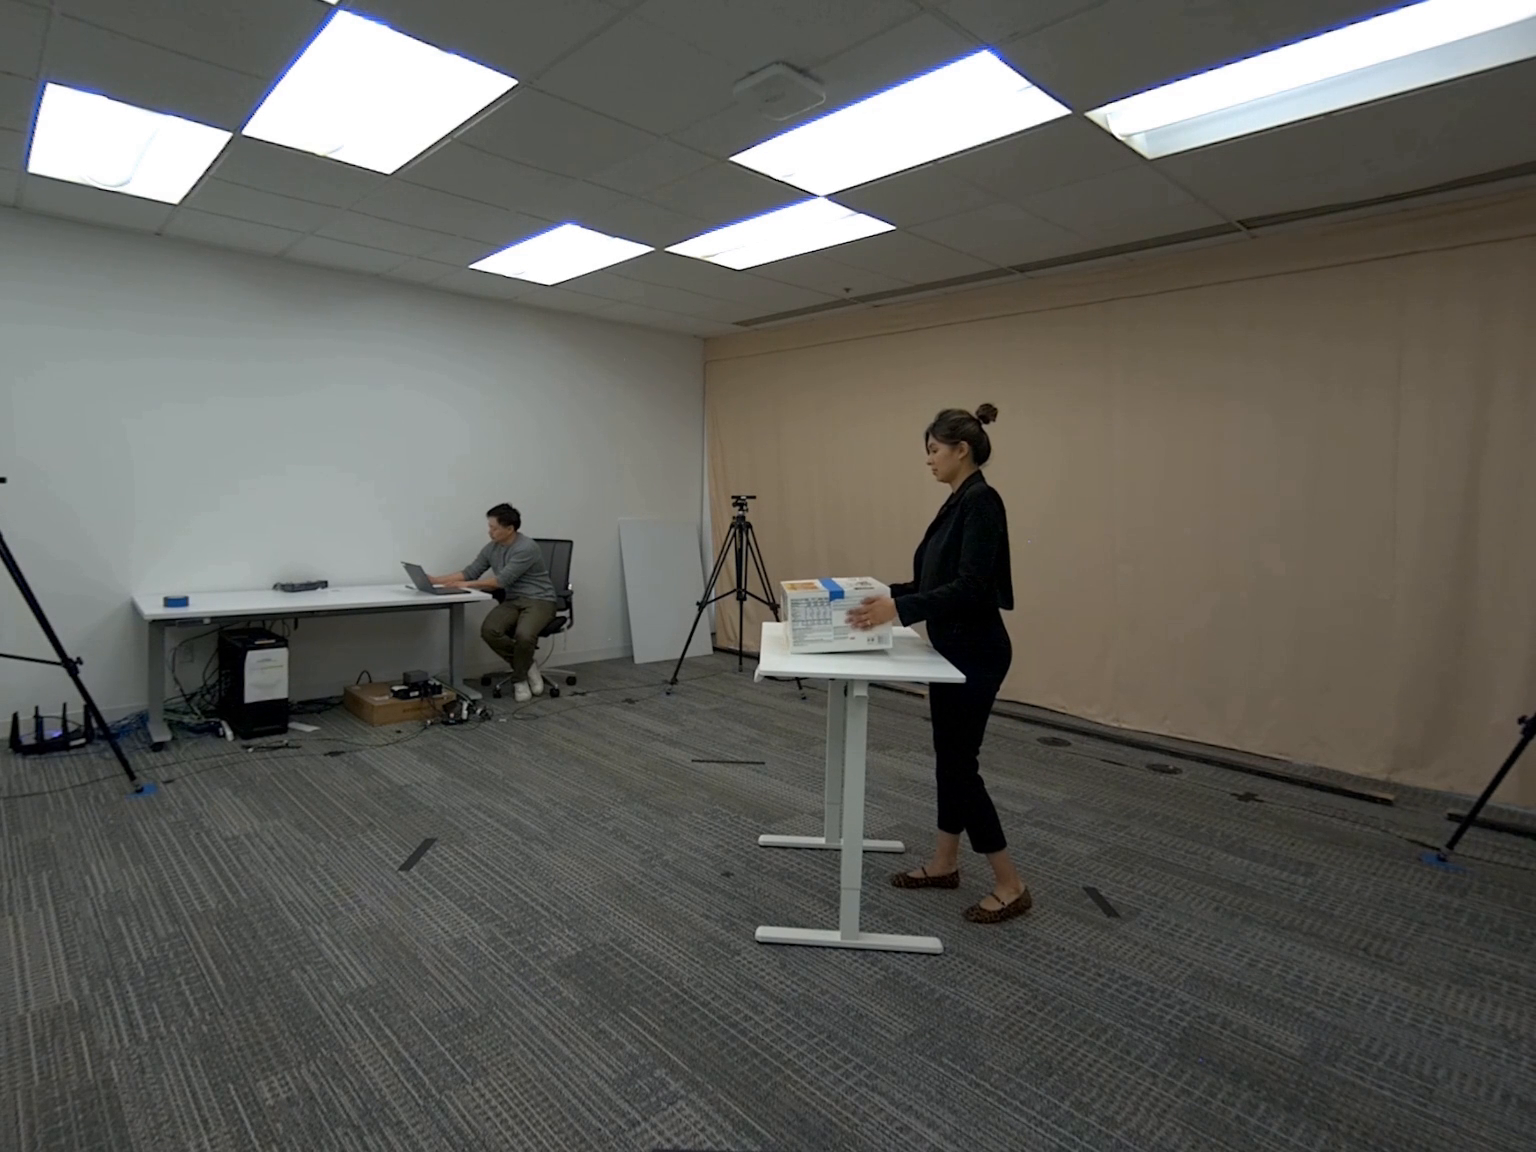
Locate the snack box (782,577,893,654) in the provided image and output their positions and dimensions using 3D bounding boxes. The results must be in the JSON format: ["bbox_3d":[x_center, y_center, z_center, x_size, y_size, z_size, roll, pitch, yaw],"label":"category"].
[{"bbox_3d":[0.225,0.130,2.943,0.340,0.205,0.406,-3,5,-1],"label":"snack box"}]
